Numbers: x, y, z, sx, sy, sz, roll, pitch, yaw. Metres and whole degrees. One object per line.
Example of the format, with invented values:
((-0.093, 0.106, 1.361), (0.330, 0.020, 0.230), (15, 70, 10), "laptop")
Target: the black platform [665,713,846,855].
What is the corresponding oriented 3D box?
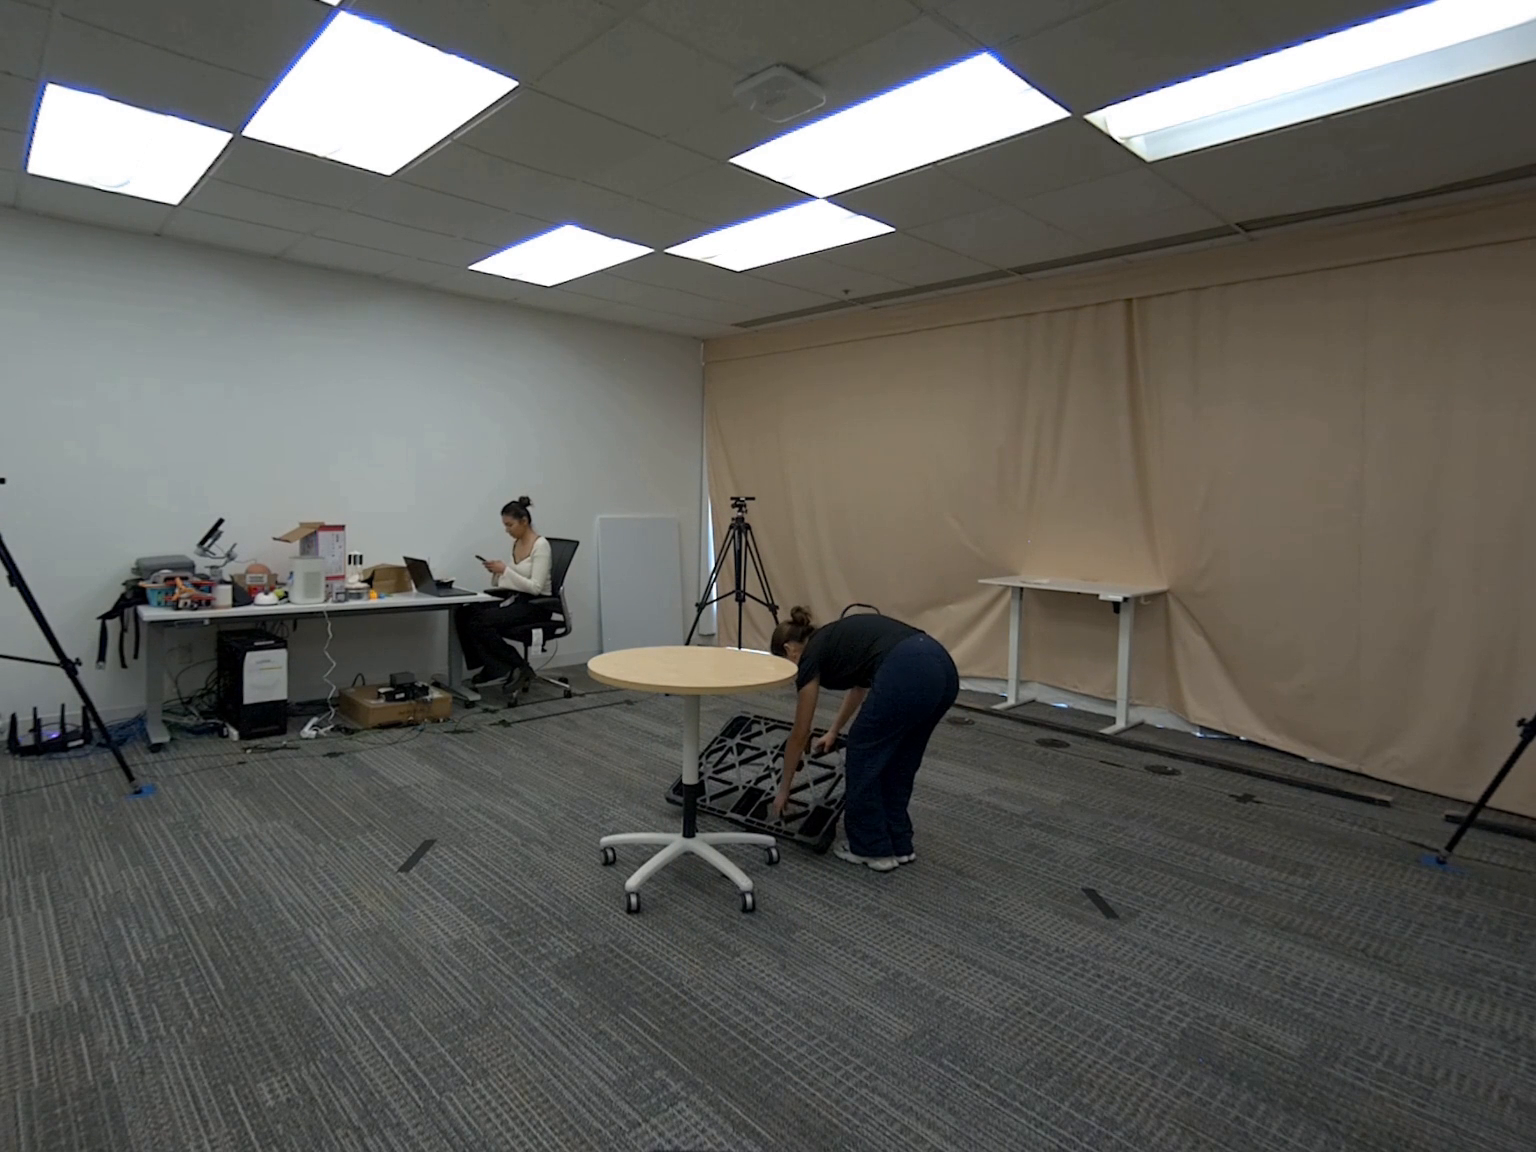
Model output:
((0.027, 0.897, 3.654), (0.825, 0.140, 0.604), (5, 35, 37), "black platform")
